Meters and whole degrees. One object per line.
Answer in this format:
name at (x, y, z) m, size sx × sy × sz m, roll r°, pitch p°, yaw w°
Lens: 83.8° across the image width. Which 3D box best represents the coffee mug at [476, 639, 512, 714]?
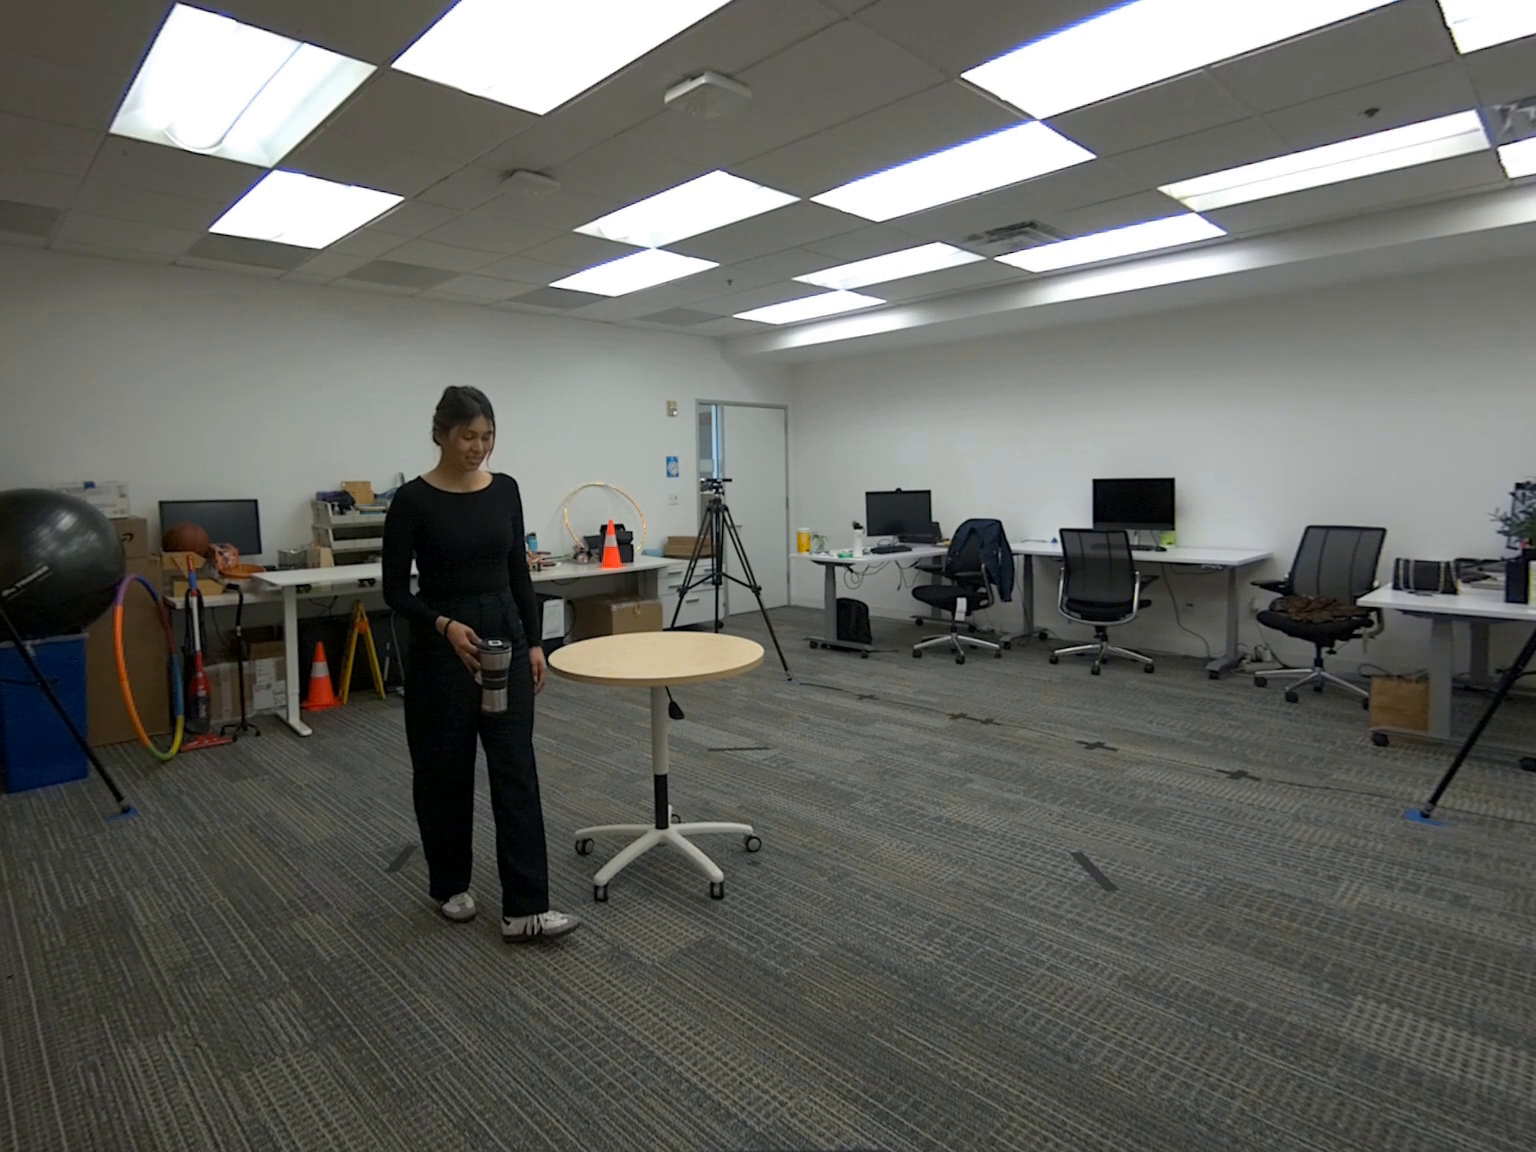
coffee mug at (-0.777, 0.292, 2.393) m, size 0.087 × 0.202 × 0.123 m, roll 4°, pitch 3°, yaw -8°
